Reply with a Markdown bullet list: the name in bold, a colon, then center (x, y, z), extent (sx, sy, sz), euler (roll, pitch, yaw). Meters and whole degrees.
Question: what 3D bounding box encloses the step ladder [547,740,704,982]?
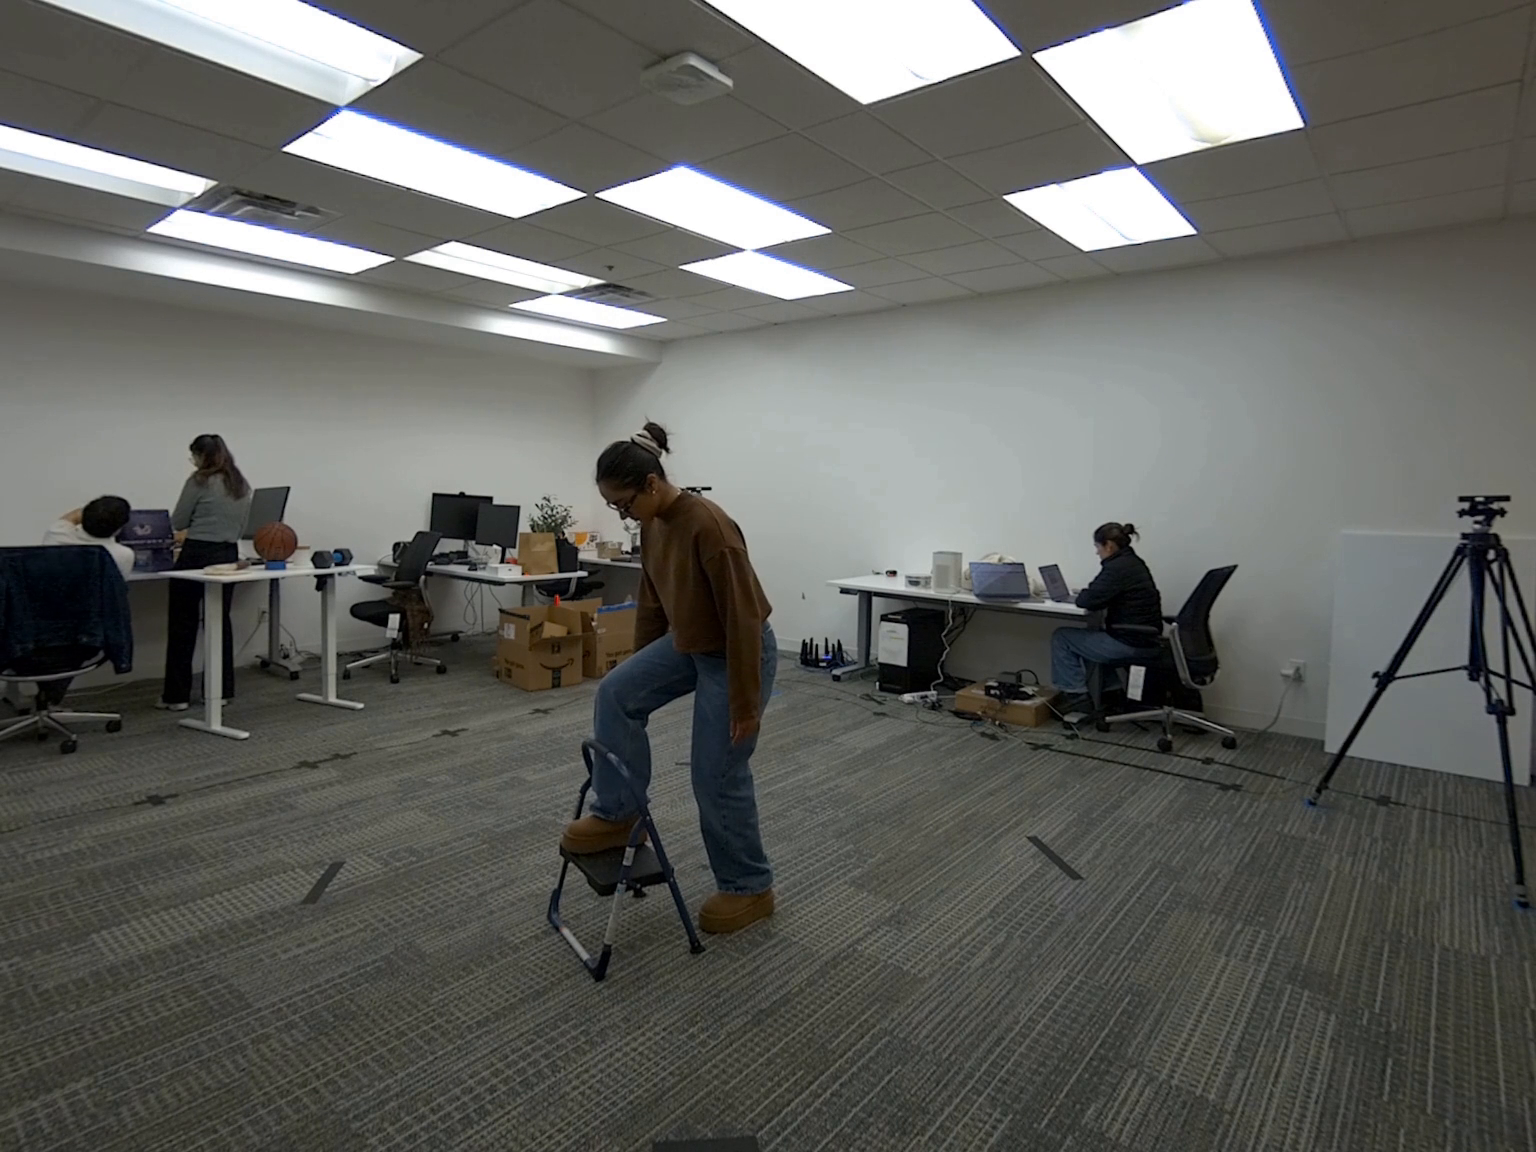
- **step ladder**: center (-0.457, 0.808, 2.623), extent (0.339, 0.604, 0.444), euler (-2, 5, -34)
